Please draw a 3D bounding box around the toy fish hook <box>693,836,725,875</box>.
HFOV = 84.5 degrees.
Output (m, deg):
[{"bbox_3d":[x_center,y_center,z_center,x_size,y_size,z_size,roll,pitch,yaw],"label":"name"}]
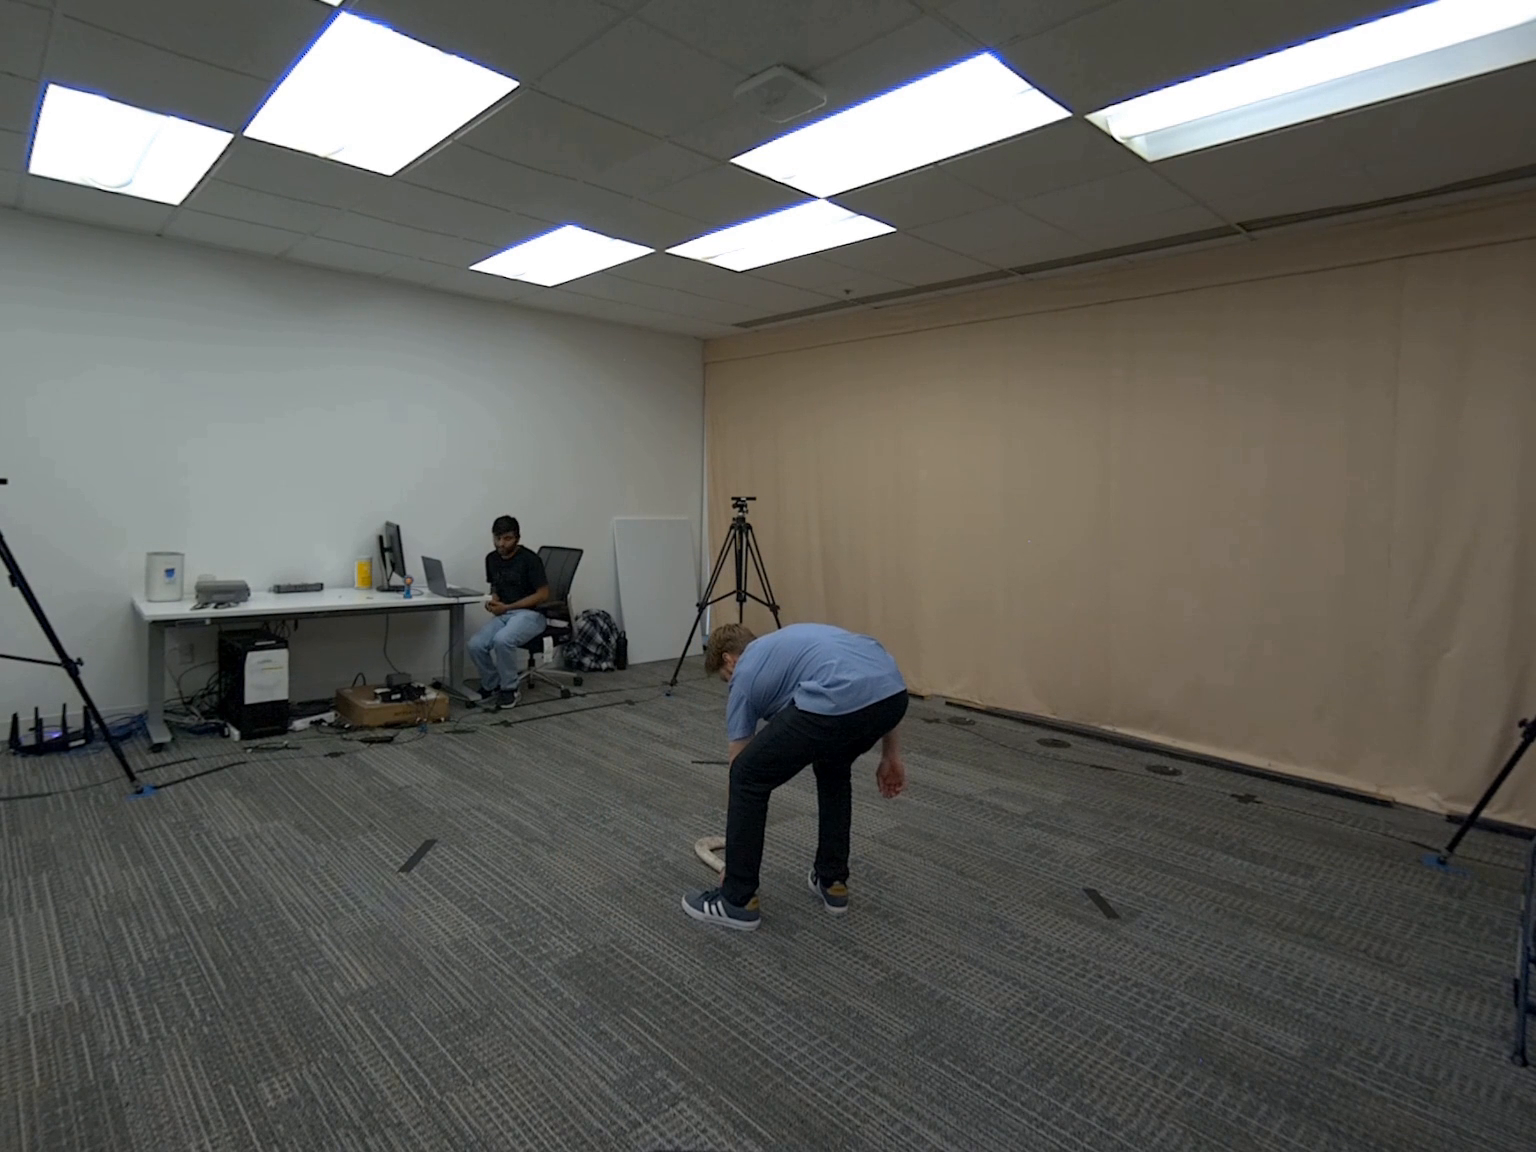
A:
[{"bbox_3d":[-0.131,1.081,3.150,0.222,0.048,0.515,-3,6,-18],"label":"toy fish hook"}]
